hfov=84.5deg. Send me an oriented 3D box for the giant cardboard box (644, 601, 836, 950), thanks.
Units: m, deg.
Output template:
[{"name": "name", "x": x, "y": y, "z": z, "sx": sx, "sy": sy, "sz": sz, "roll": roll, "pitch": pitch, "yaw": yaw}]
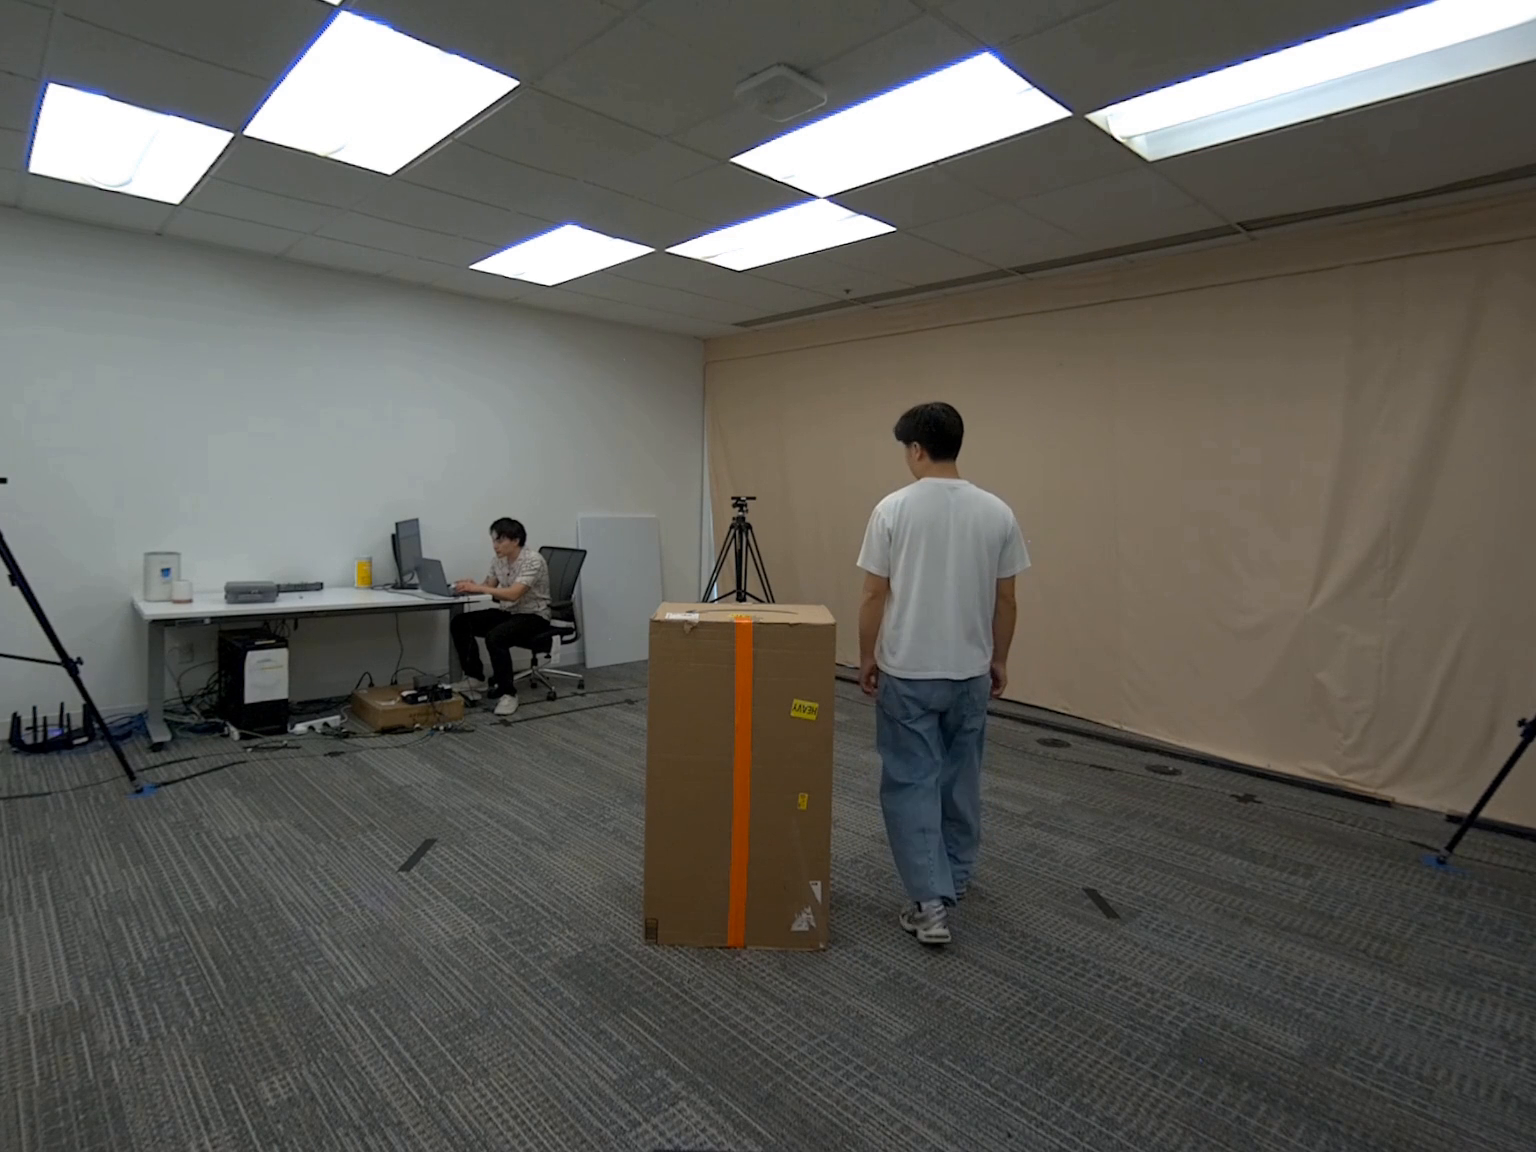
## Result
[{"name": "giant cardboard box", "x": -0.101, "y": 0.629, "z": 2.782, "sx": 0.578, "sy": 1.023, "sz": 0.427, "roll": 1, "pitch": 3, "yaw": 0}]
